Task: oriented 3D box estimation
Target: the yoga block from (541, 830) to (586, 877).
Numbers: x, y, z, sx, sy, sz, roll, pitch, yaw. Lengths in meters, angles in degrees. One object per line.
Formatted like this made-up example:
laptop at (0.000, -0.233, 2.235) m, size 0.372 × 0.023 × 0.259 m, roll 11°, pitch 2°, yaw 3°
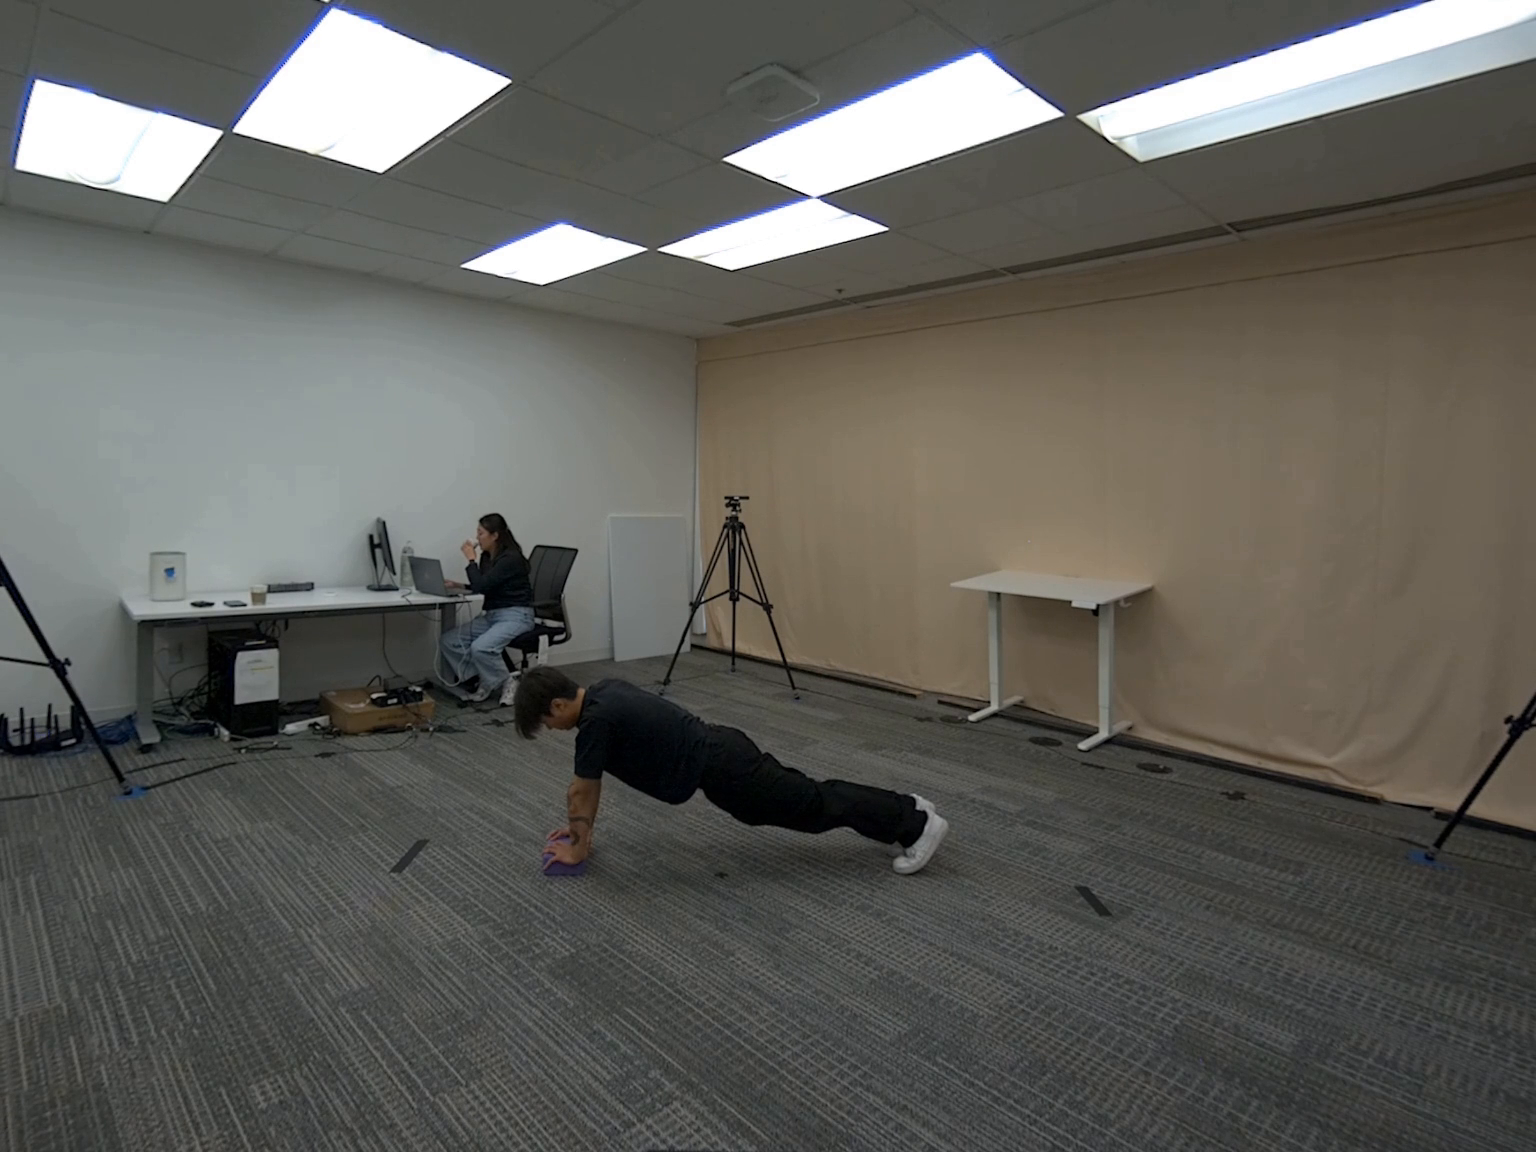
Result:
yoga block at (-0.762, 1.040, 3.181) m, size 0.148 × 0.076 × 0.231 m, roll 1°, pitch 6°, yaw -7°
